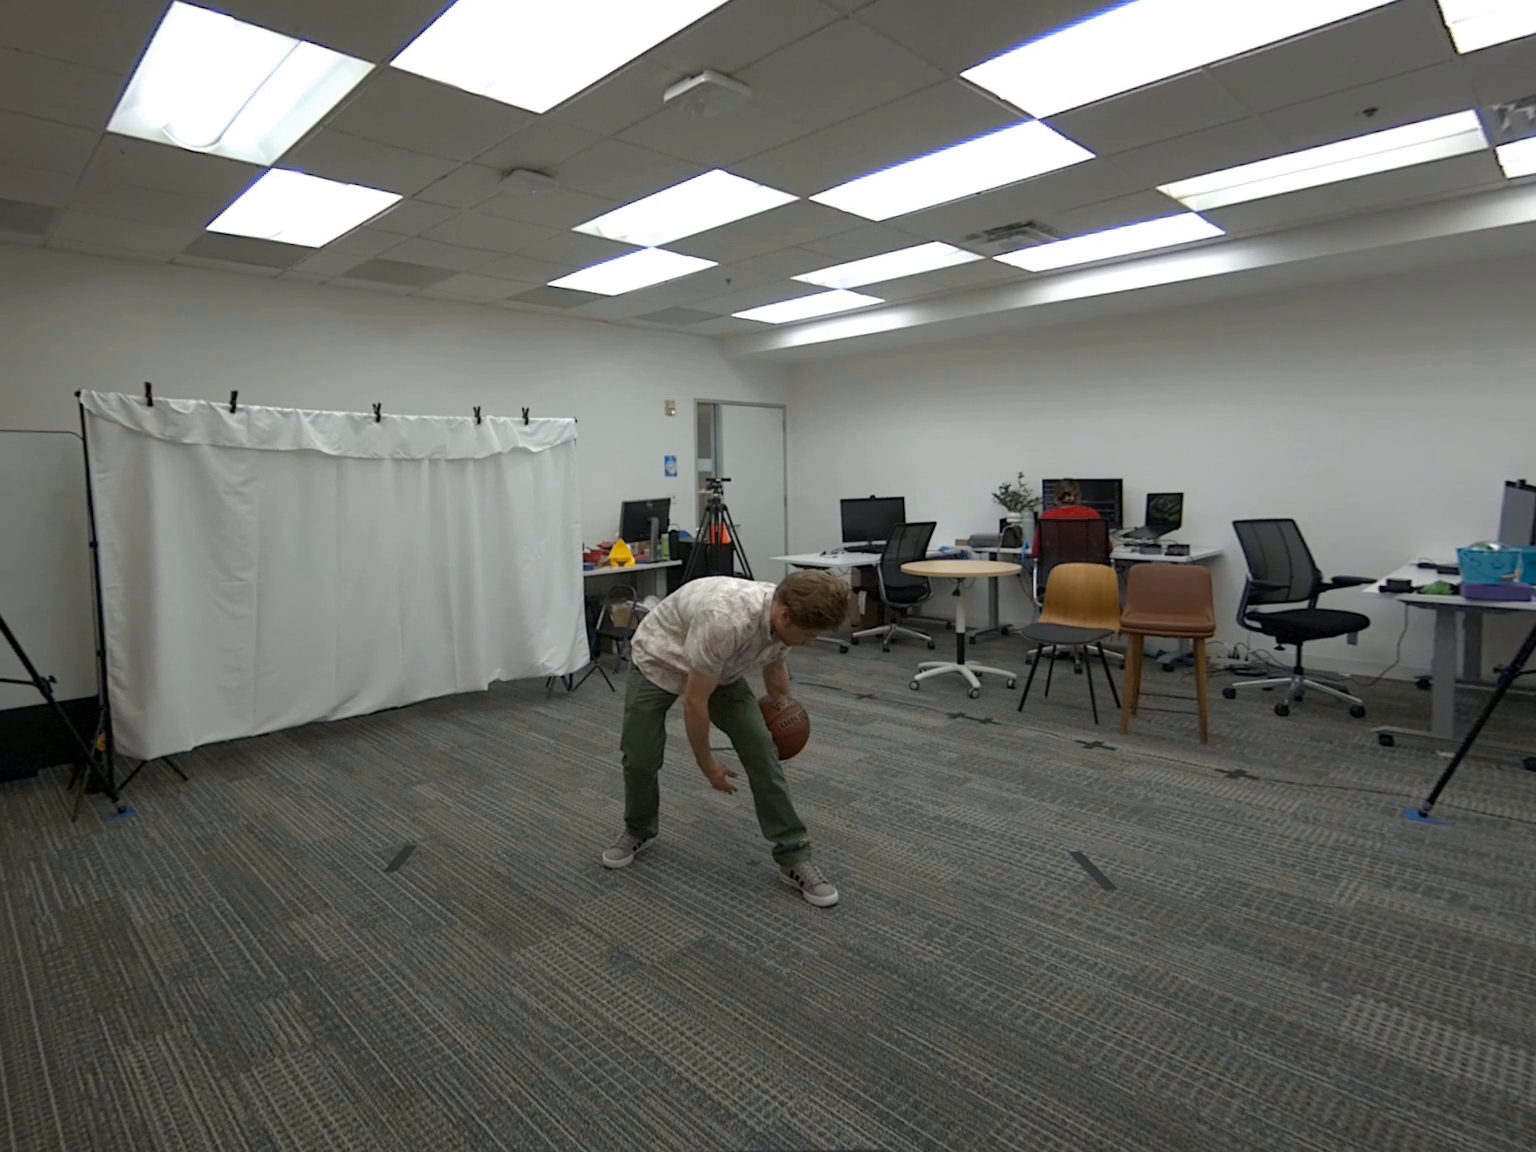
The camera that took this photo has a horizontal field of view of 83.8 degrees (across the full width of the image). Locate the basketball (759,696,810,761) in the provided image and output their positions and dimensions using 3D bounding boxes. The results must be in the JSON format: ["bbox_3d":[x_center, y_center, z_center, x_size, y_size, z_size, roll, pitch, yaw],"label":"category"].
[{"bbox_3d":[0.037,0.547,3.125,0.236,0.235,0.237,-1,5,-2],"label":"basketball"}]
